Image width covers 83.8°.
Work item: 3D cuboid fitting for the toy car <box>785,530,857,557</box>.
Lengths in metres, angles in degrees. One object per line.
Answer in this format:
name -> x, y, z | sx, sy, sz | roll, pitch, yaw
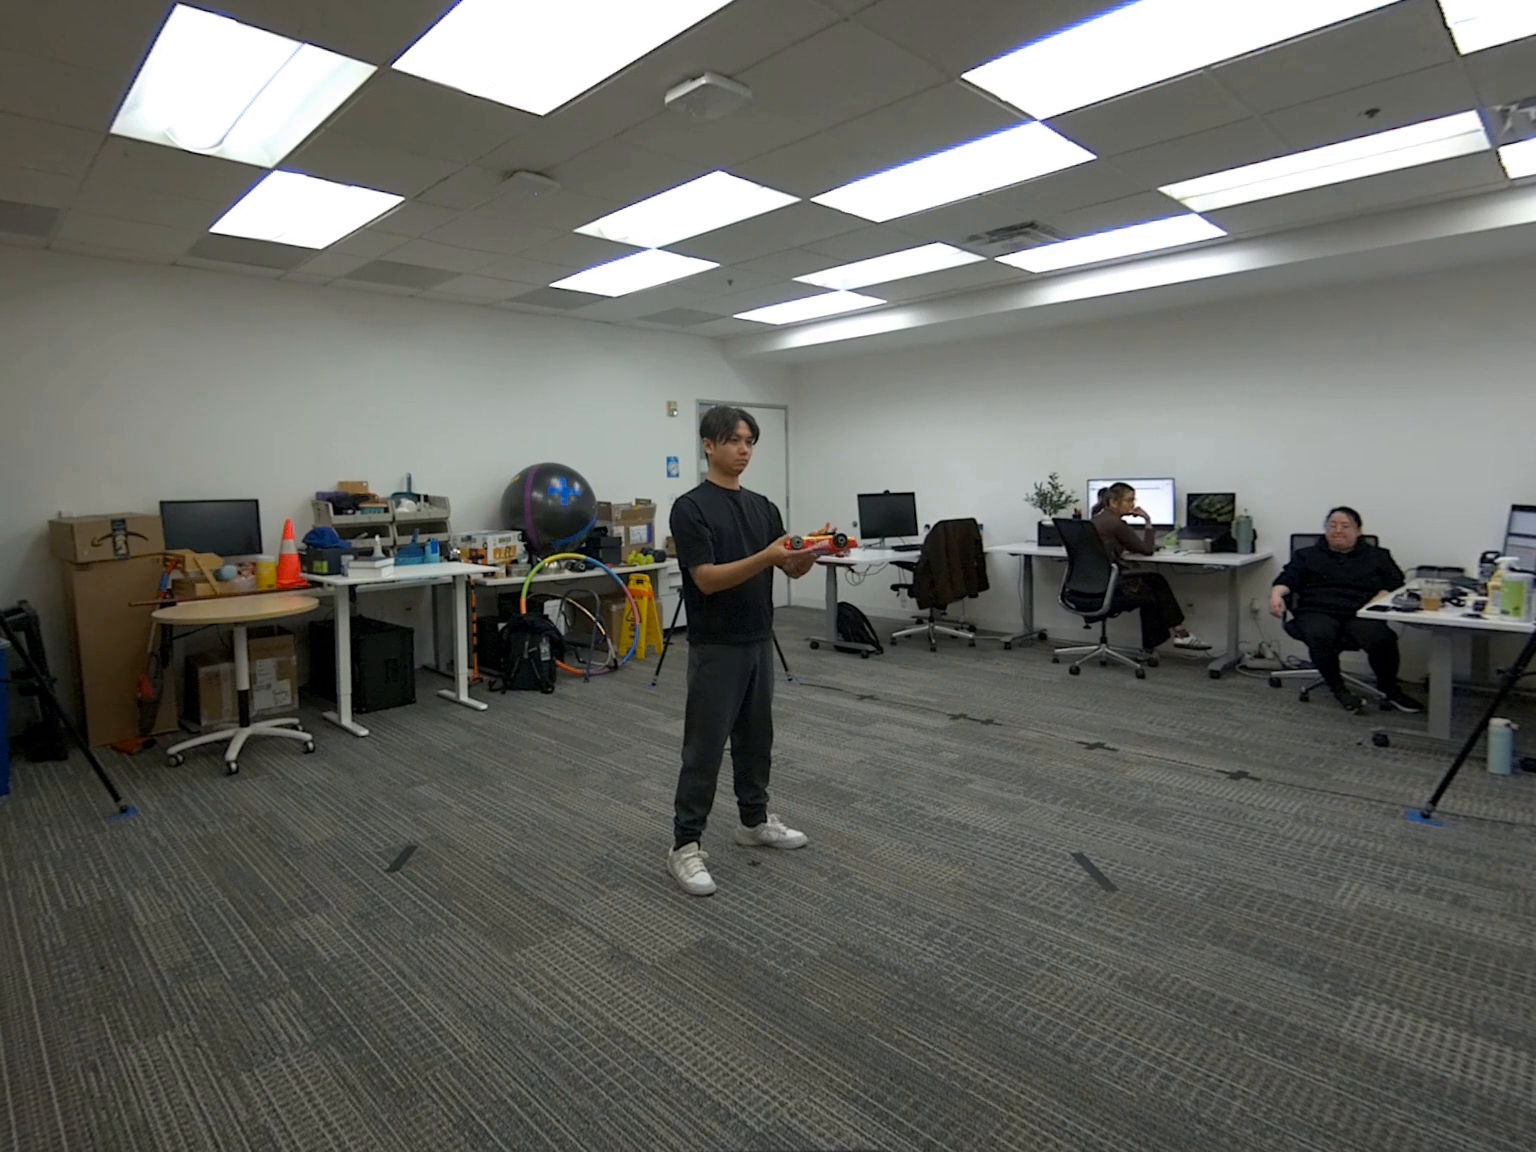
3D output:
toy car -> 0.175, -0.107, 2.810 | 0.251, 0.083, 0.132 | 6, 2, -12
